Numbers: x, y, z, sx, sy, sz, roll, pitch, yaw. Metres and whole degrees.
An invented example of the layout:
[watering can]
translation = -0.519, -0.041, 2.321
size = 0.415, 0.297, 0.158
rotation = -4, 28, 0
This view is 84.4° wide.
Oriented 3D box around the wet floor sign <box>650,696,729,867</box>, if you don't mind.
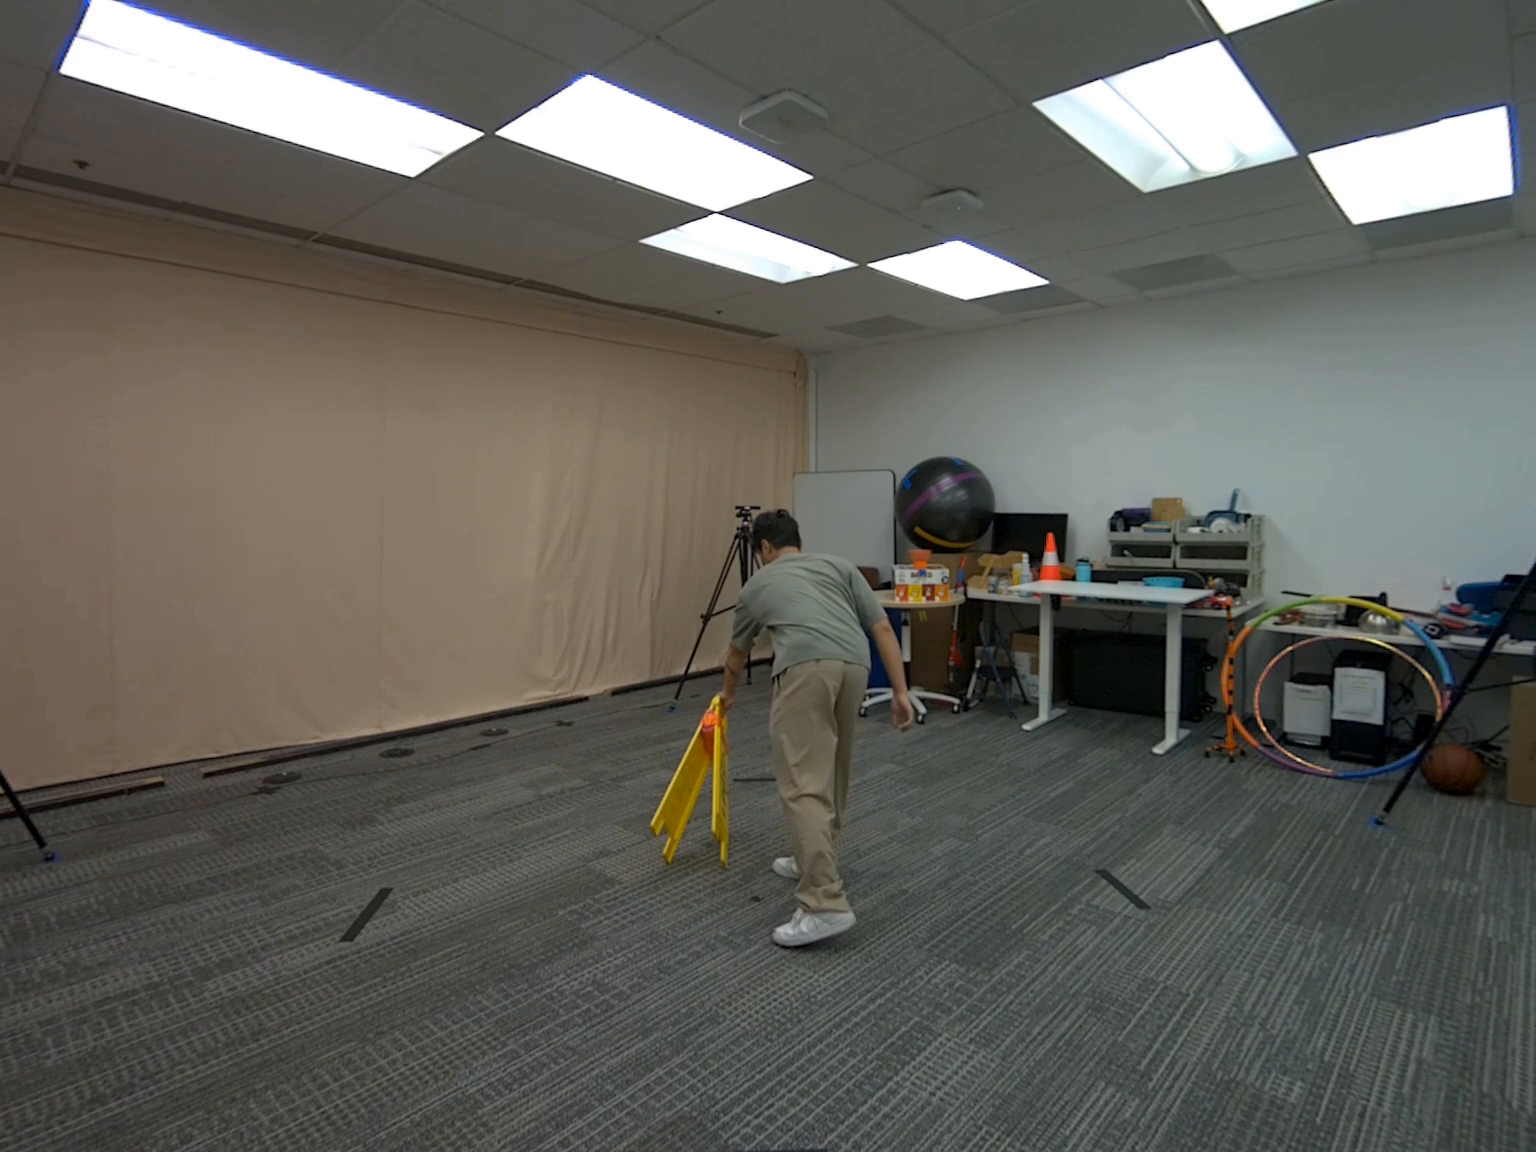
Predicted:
[wet floor sign]
translation = -0.252, 0.799, 3.406
size = 0.294, 0.275, 0.653
rotation = 0, 44, 12
